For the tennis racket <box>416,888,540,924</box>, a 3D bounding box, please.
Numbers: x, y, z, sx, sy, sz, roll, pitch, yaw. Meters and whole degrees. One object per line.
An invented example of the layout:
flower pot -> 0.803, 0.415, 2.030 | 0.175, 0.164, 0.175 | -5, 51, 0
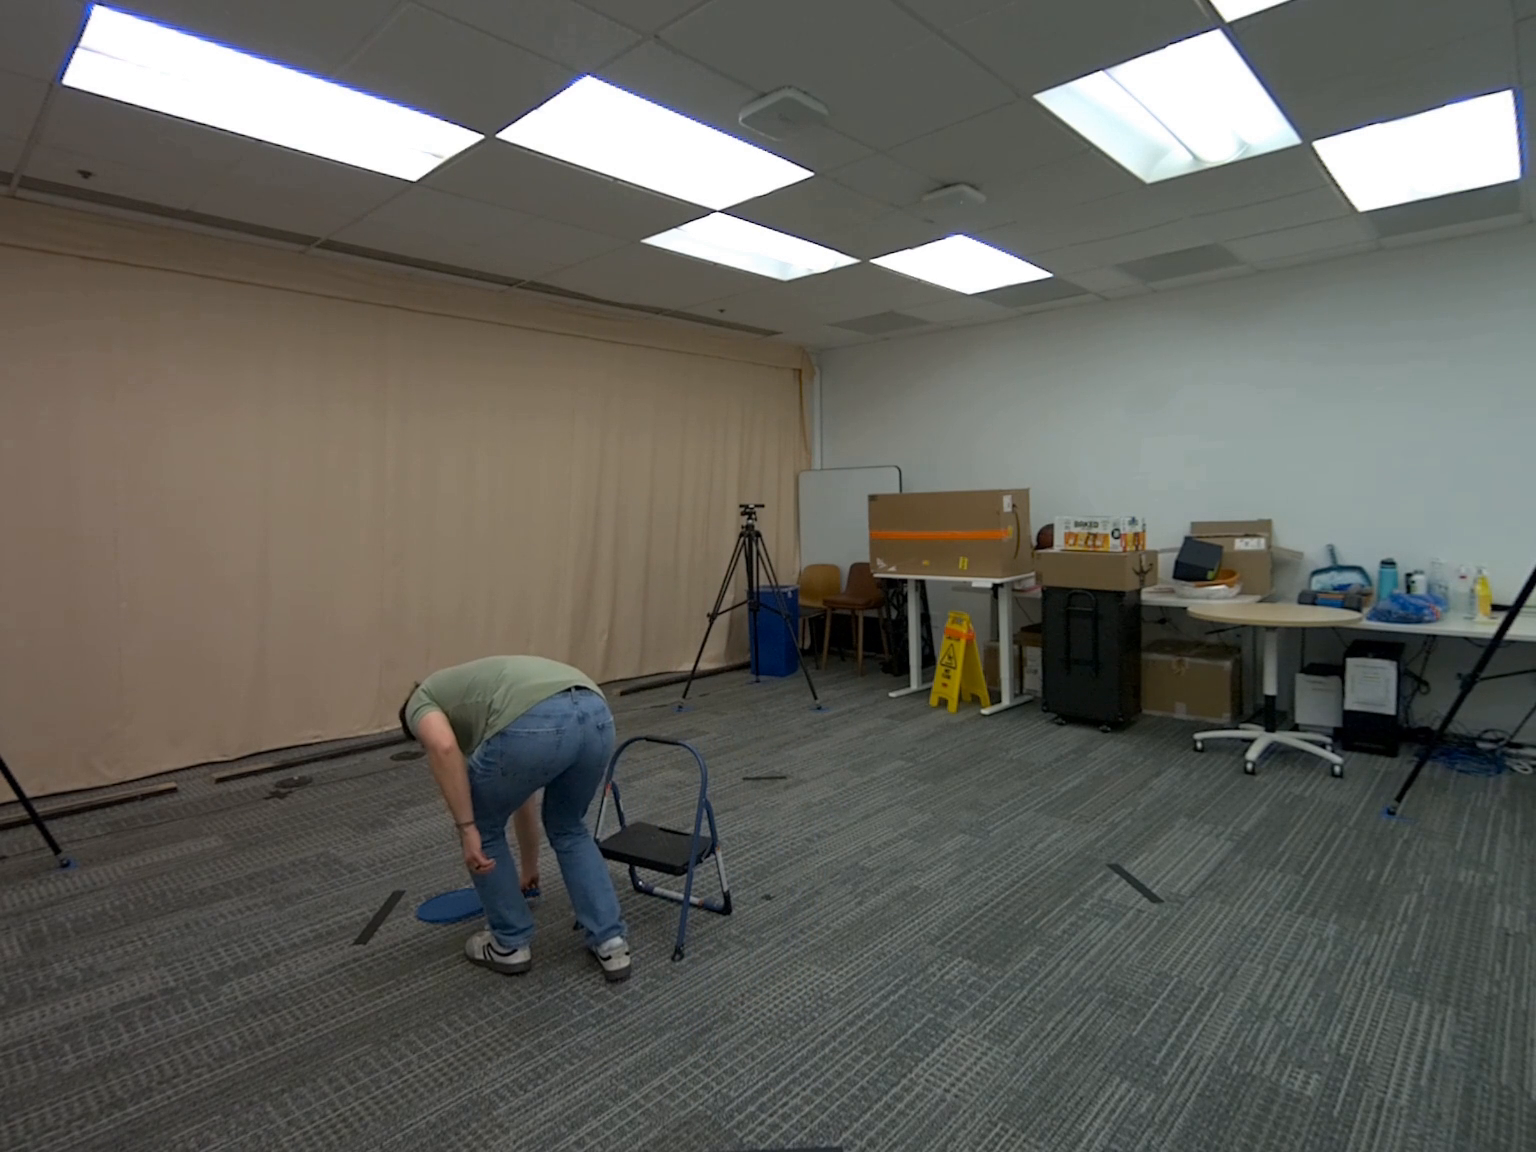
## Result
tennis racket -> -1.014, 1.142, 2.939 | 0.434, 0.031, 0.214 | -8, 6, 2
